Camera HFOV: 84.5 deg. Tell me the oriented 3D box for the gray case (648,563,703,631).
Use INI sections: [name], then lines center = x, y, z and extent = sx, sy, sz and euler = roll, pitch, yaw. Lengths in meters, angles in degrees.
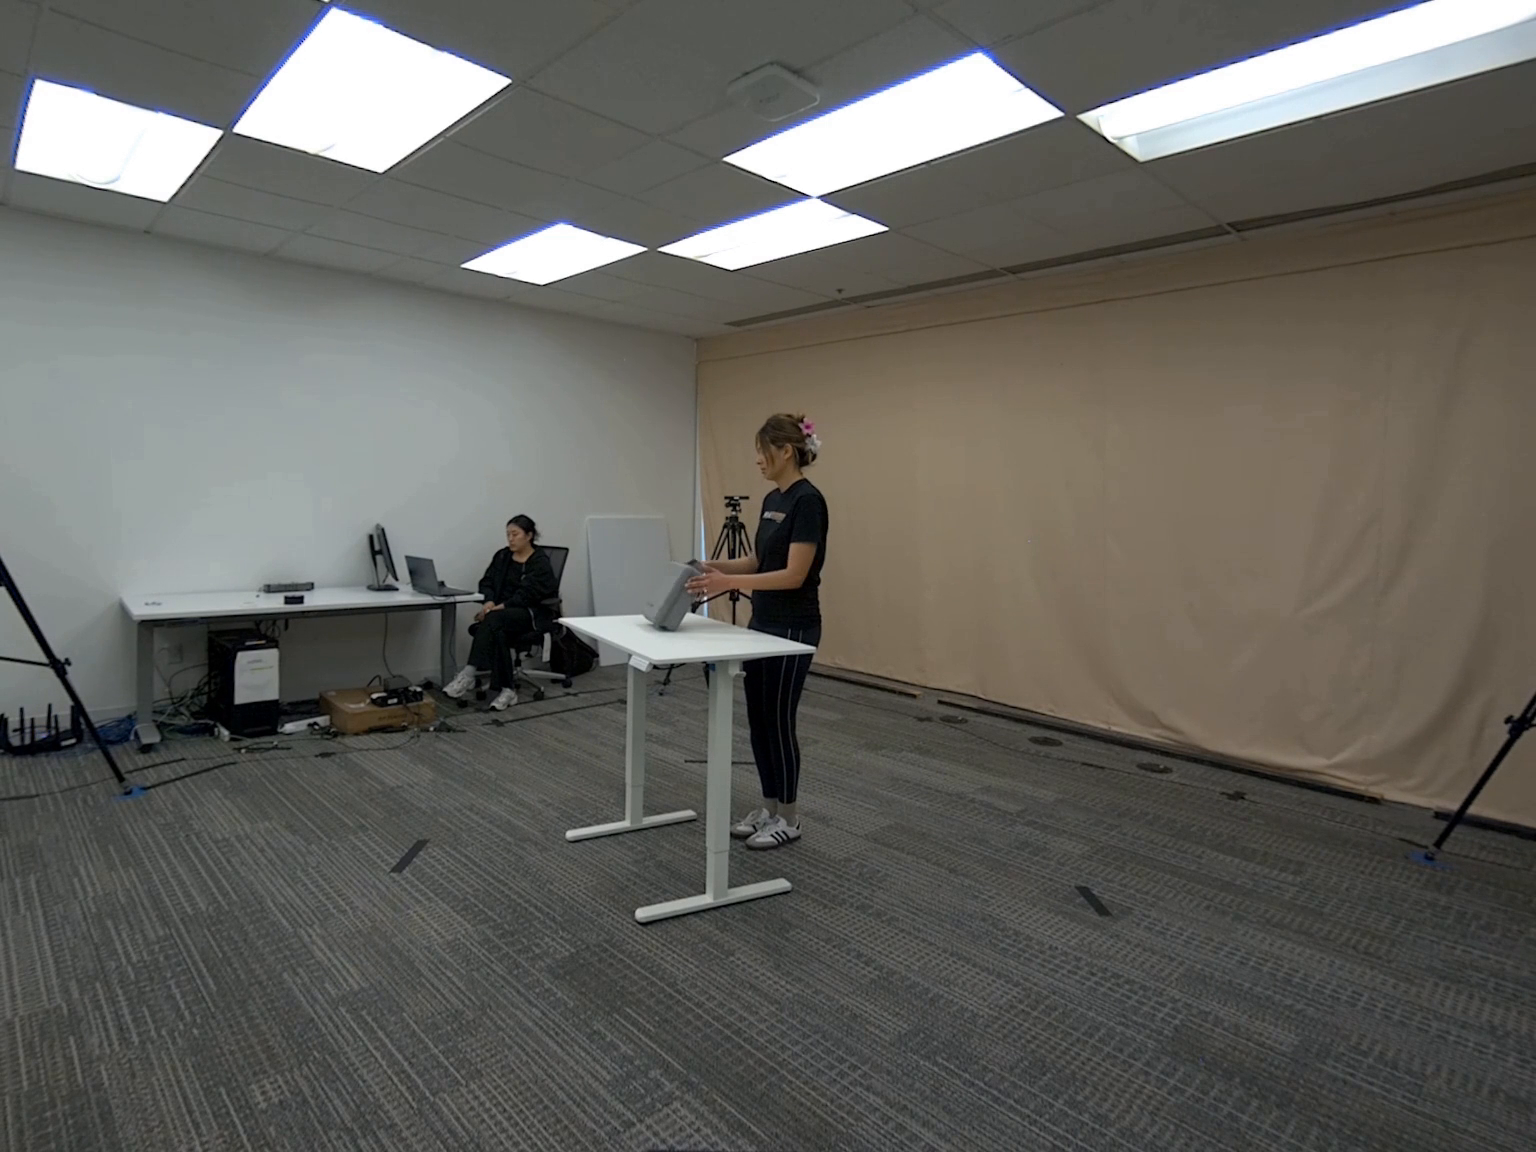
[gray case]
center = -0.375, 0.075, 3.267
extent = 0.102, 0.261, 0.261
euler = 29, -5, -19
